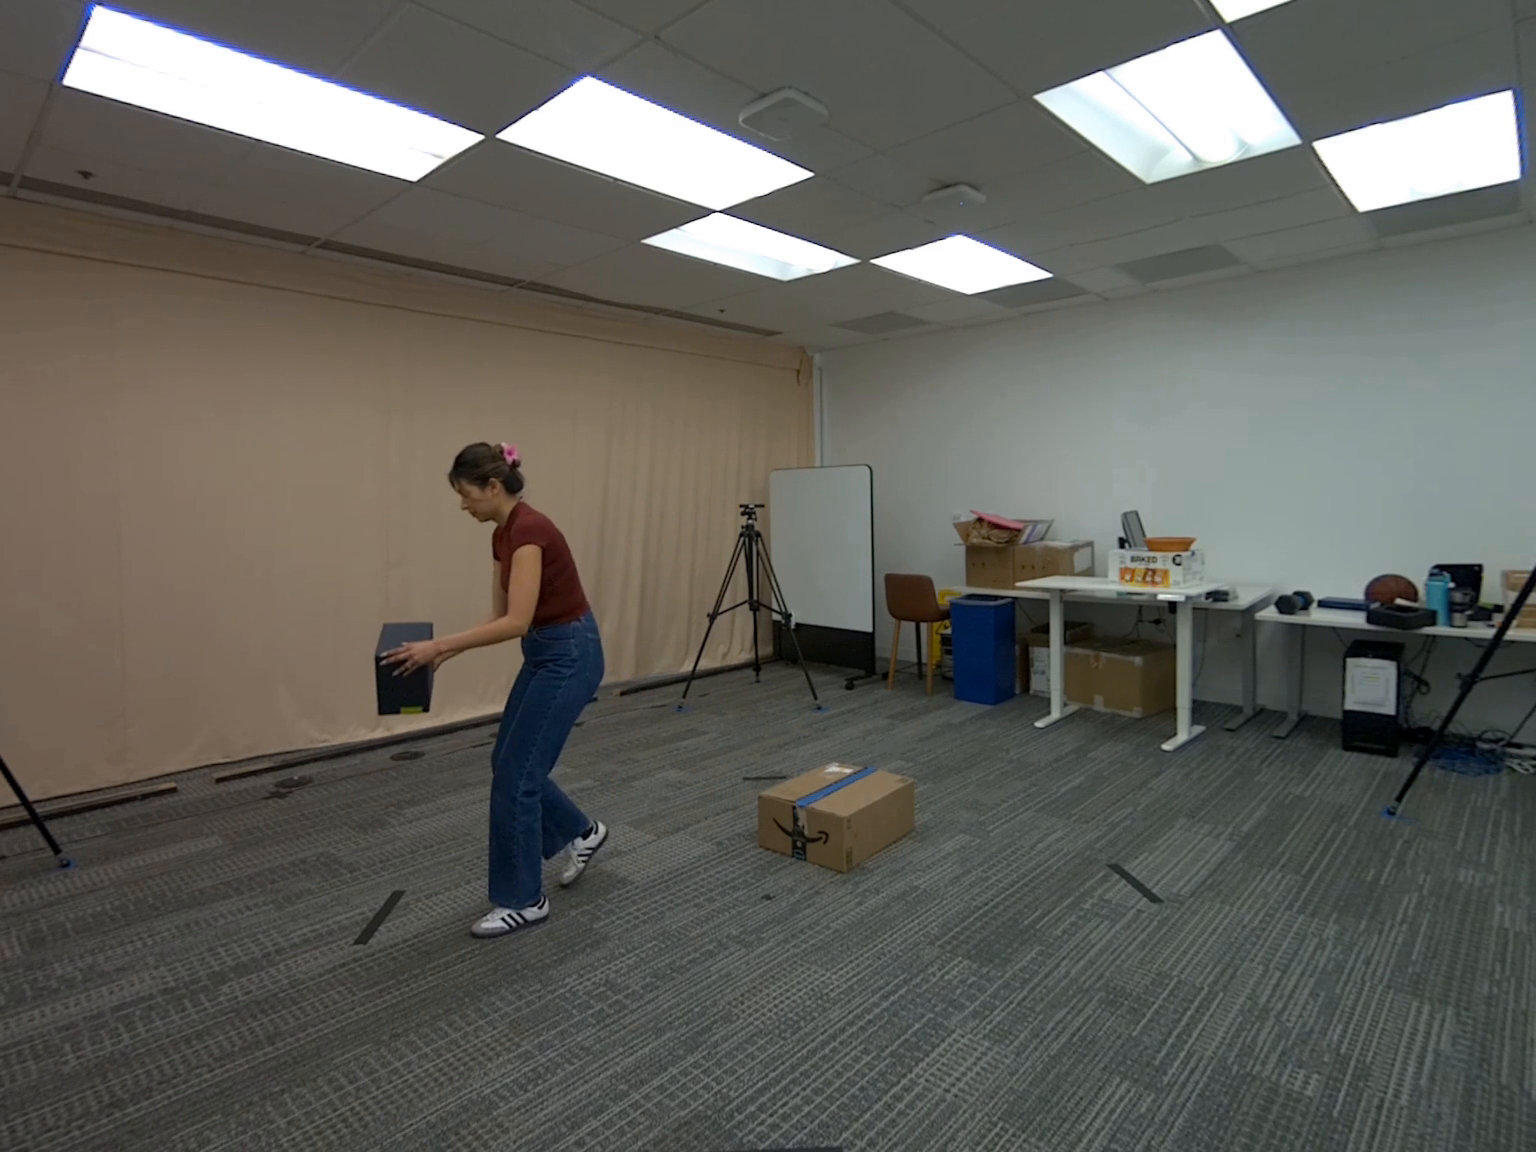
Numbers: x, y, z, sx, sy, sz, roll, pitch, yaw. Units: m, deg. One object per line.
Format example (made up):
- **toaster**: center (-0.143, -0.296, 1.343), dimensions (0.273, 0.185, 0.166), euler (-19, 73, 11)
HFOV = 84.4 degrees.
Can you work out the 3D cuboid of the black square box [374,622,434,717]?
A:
- **black square box**: center (-1.187, 0.309, 2.742), dimensions (0.153, 0.215, 0.234), euler (0, 22, -18)
